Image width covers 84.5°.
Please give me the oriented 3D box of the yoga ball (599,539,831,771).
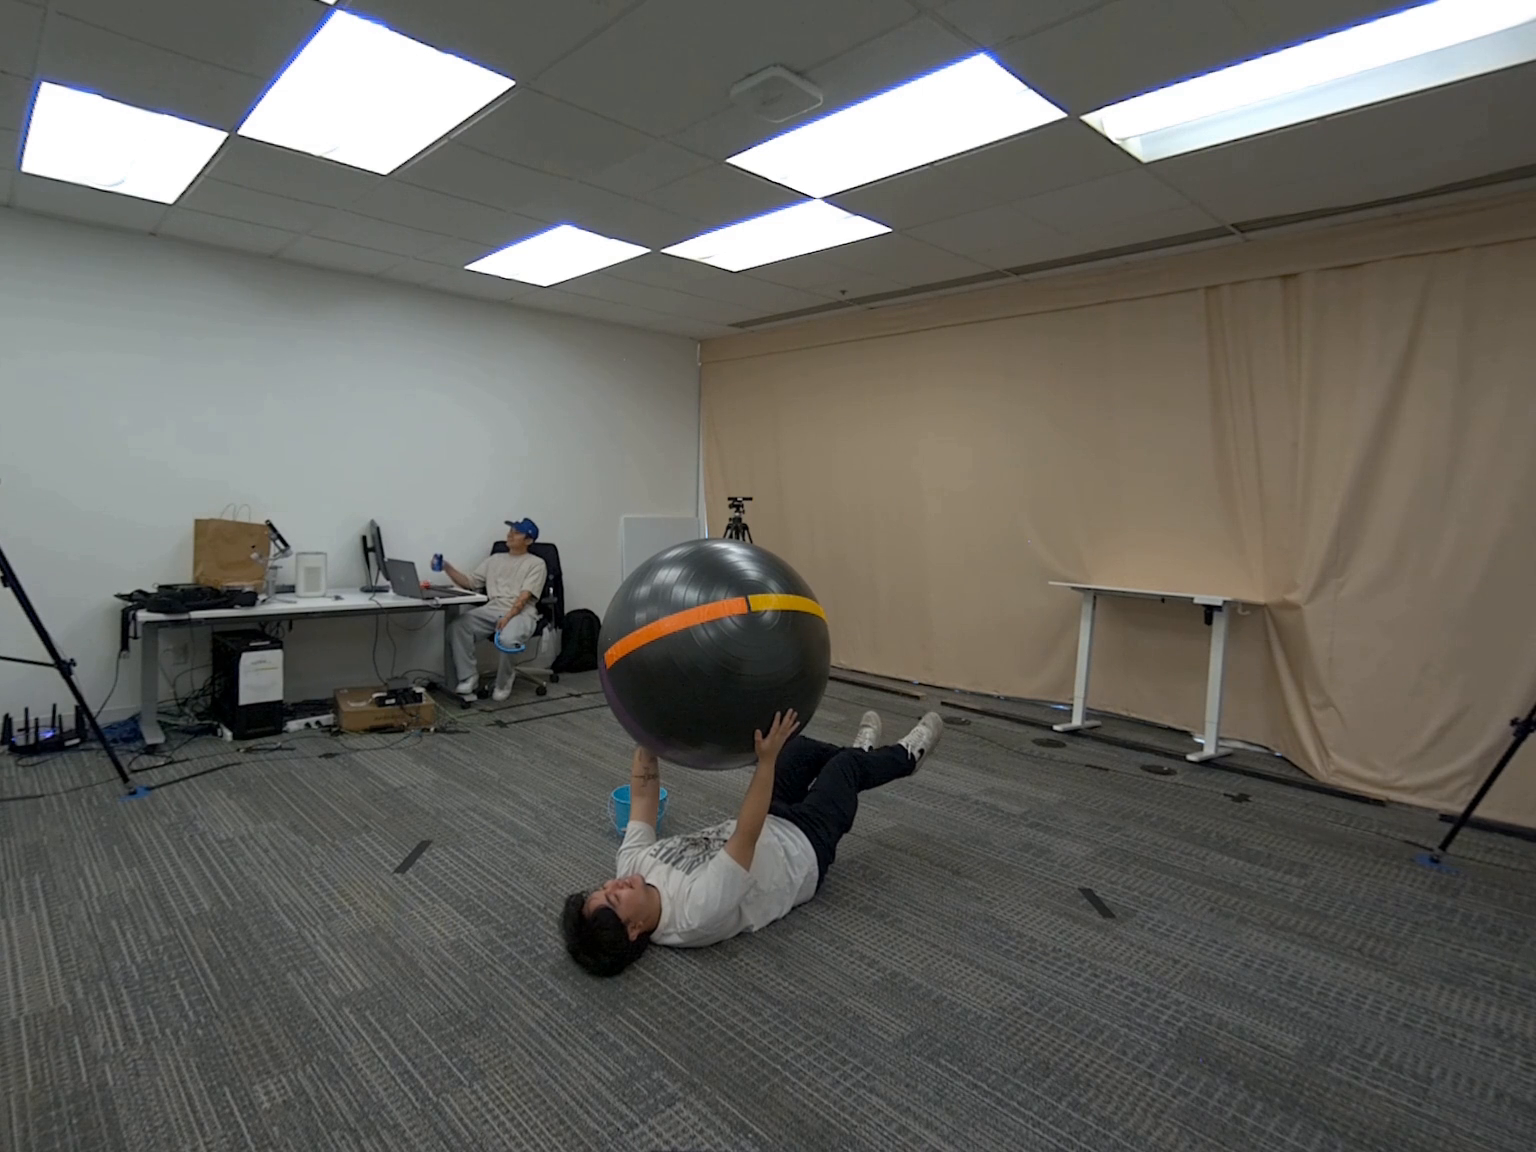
[{"bbox_3d":[-0.178,0.261,2.769,0.757,0.756,0.761,1,4,-1],"label":"yoga ball"}]
